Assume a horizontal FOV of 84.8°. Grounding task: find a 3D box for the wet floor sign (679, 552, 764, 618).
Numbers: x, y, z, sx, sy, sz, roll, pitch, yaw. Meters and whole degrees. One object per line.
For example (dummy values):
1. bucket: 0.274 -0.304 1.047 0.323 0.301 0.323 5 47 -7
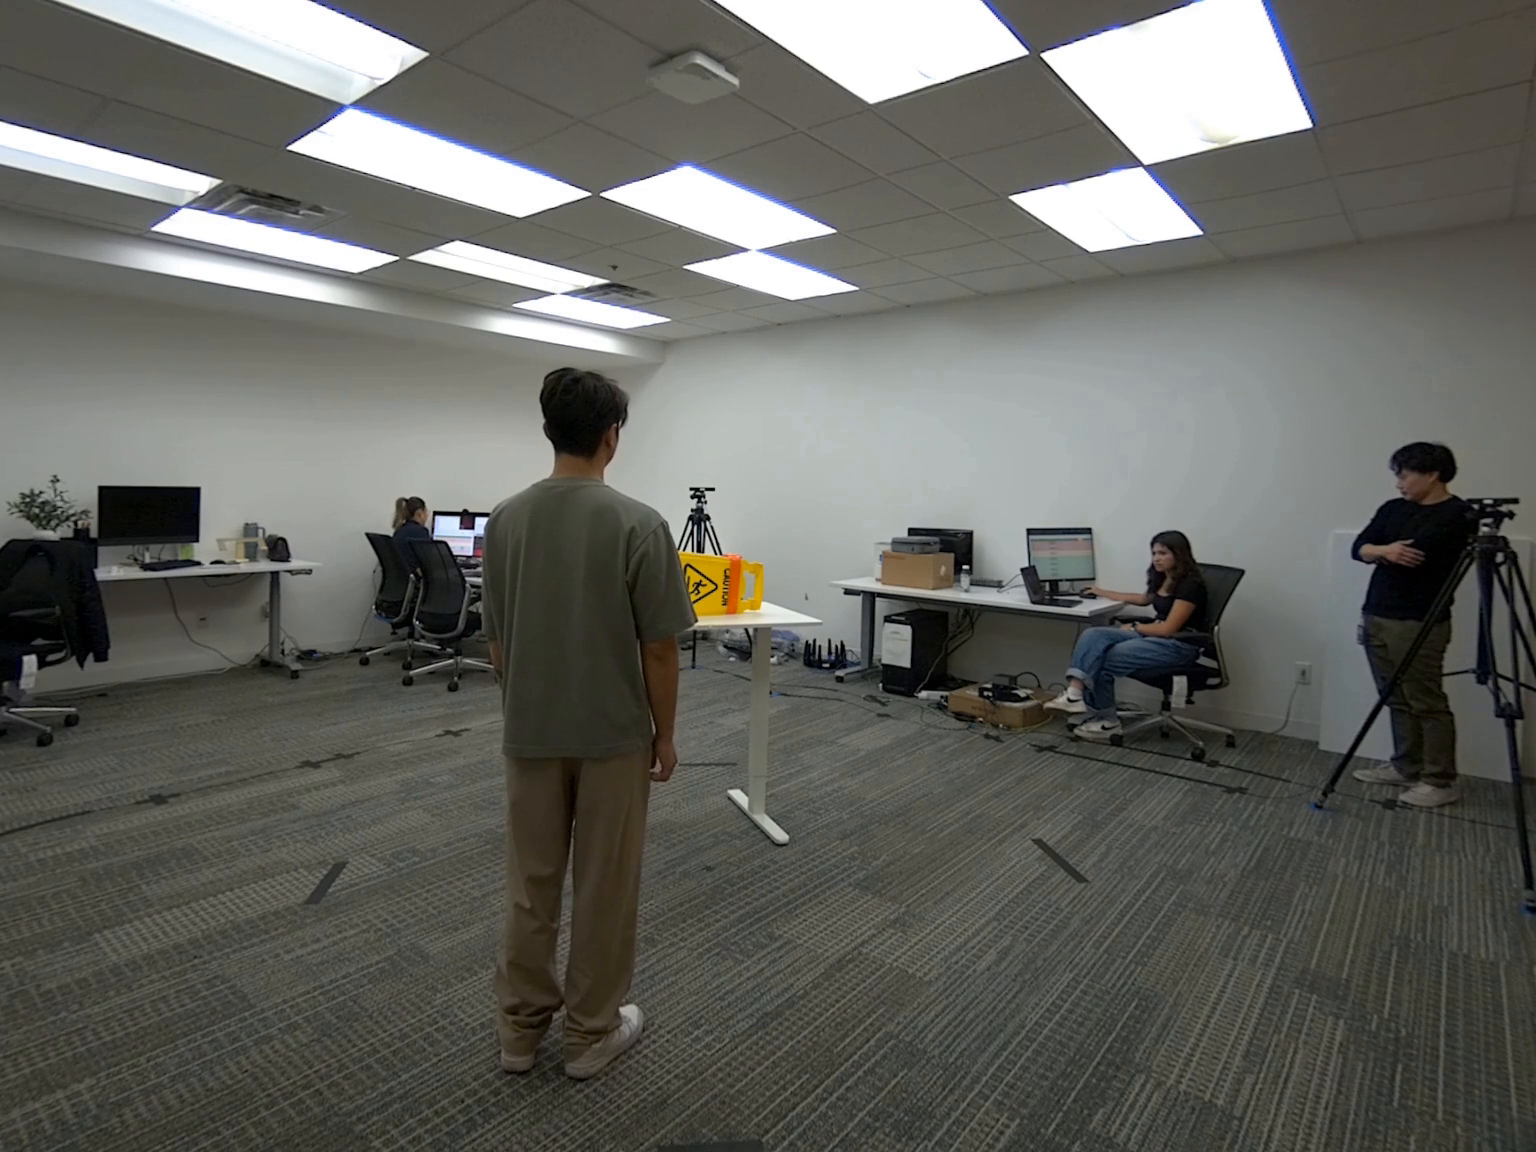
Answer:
1. wet floor sign: -0.335 0.028 3.429 0.633 0.281 0.296 3 4 -19
